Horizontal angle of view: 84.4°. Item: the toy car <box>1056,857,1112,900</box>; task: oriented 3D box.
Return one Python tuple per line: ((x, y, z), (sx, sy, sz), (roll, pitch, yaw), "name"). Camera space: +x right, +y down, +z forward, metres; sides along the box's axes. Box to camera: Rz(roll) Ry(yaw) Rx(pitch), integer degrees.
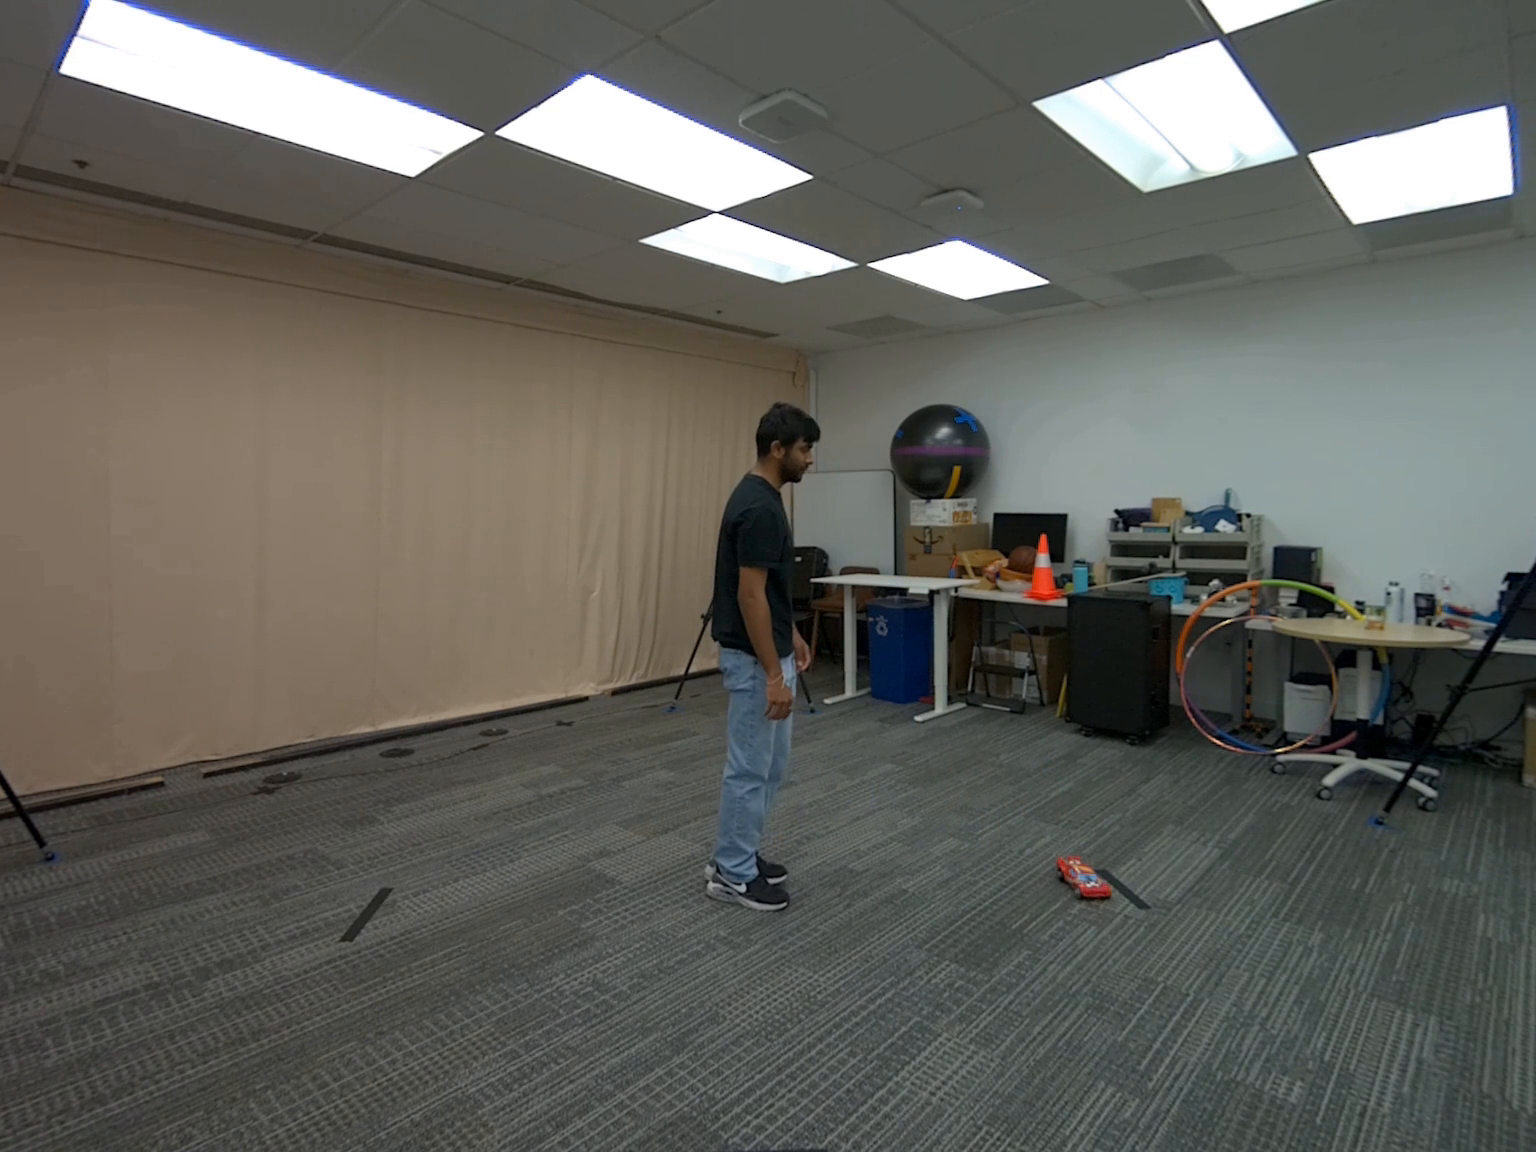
((1.150, 1.106, 3.065), (0.130, 0.082, 0.257), (-1, 15, -3), "toy car")
